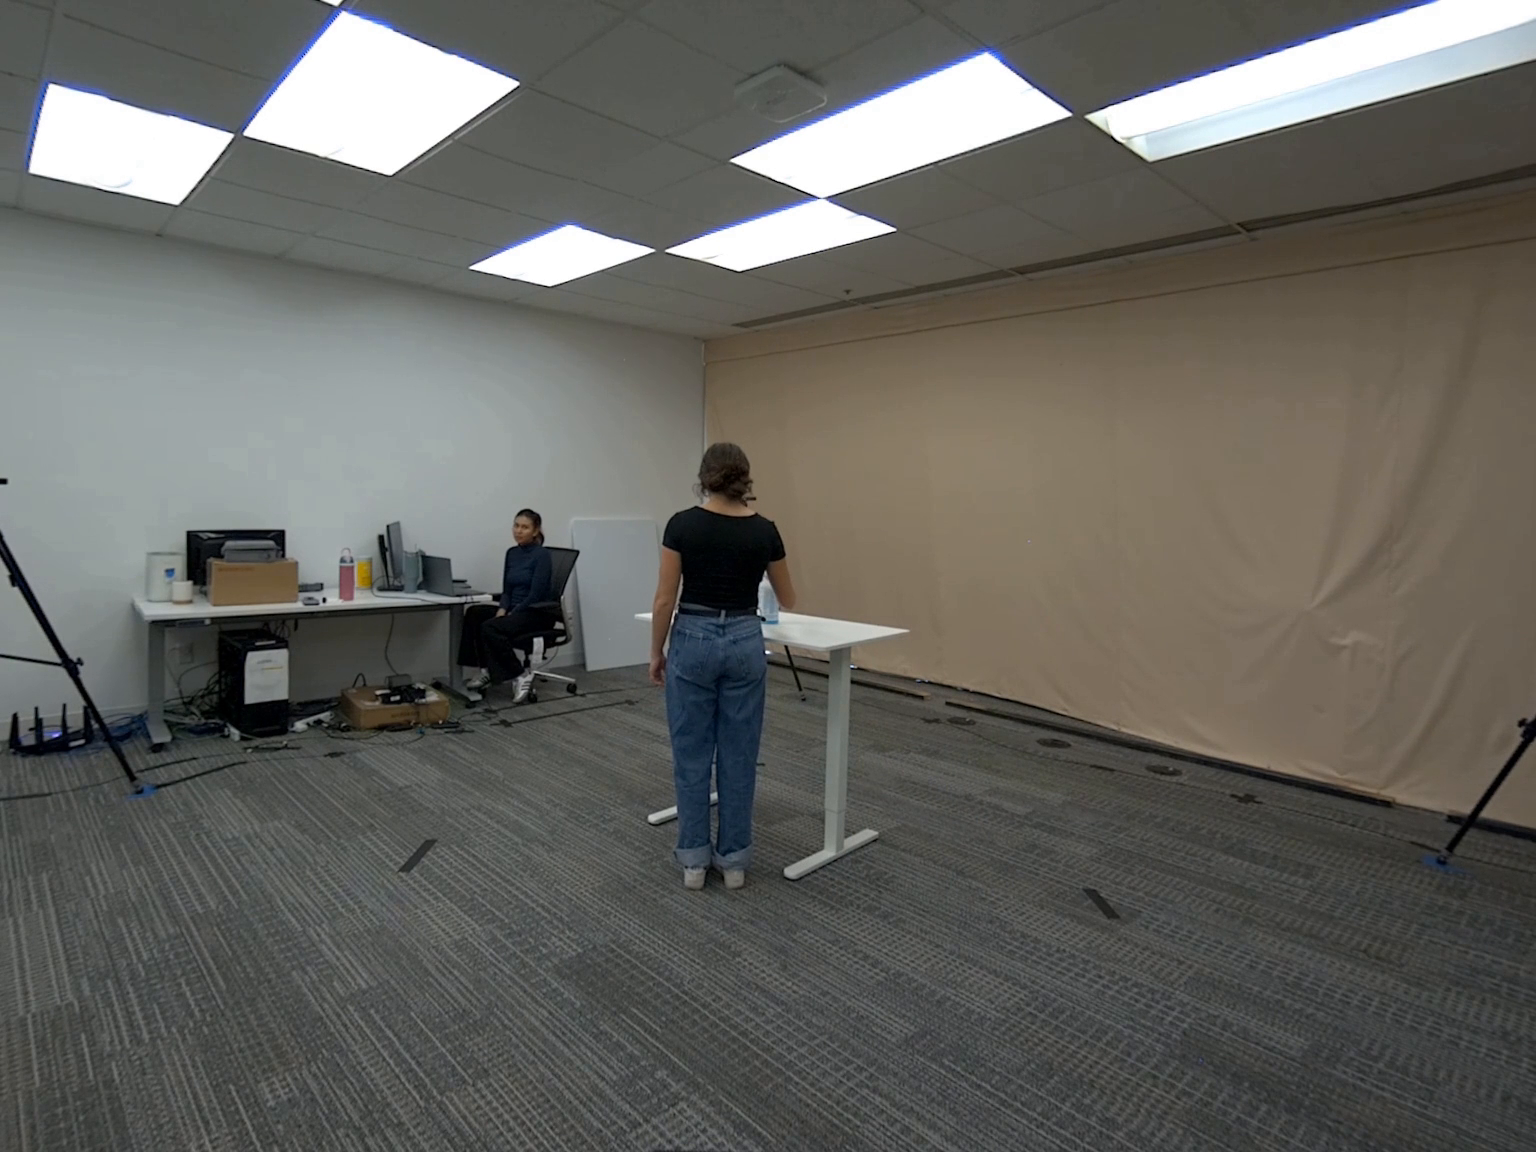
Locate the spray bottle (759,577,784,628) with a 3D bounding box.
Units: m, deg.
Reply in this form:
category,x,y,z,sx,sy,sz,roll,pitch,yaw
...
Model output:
category,x,y,z,sx,sy,sz,roll,pitch,yaw
spray bottle,0.014,0.053,3.479,0.090,0.296,0.087,2,3,0
